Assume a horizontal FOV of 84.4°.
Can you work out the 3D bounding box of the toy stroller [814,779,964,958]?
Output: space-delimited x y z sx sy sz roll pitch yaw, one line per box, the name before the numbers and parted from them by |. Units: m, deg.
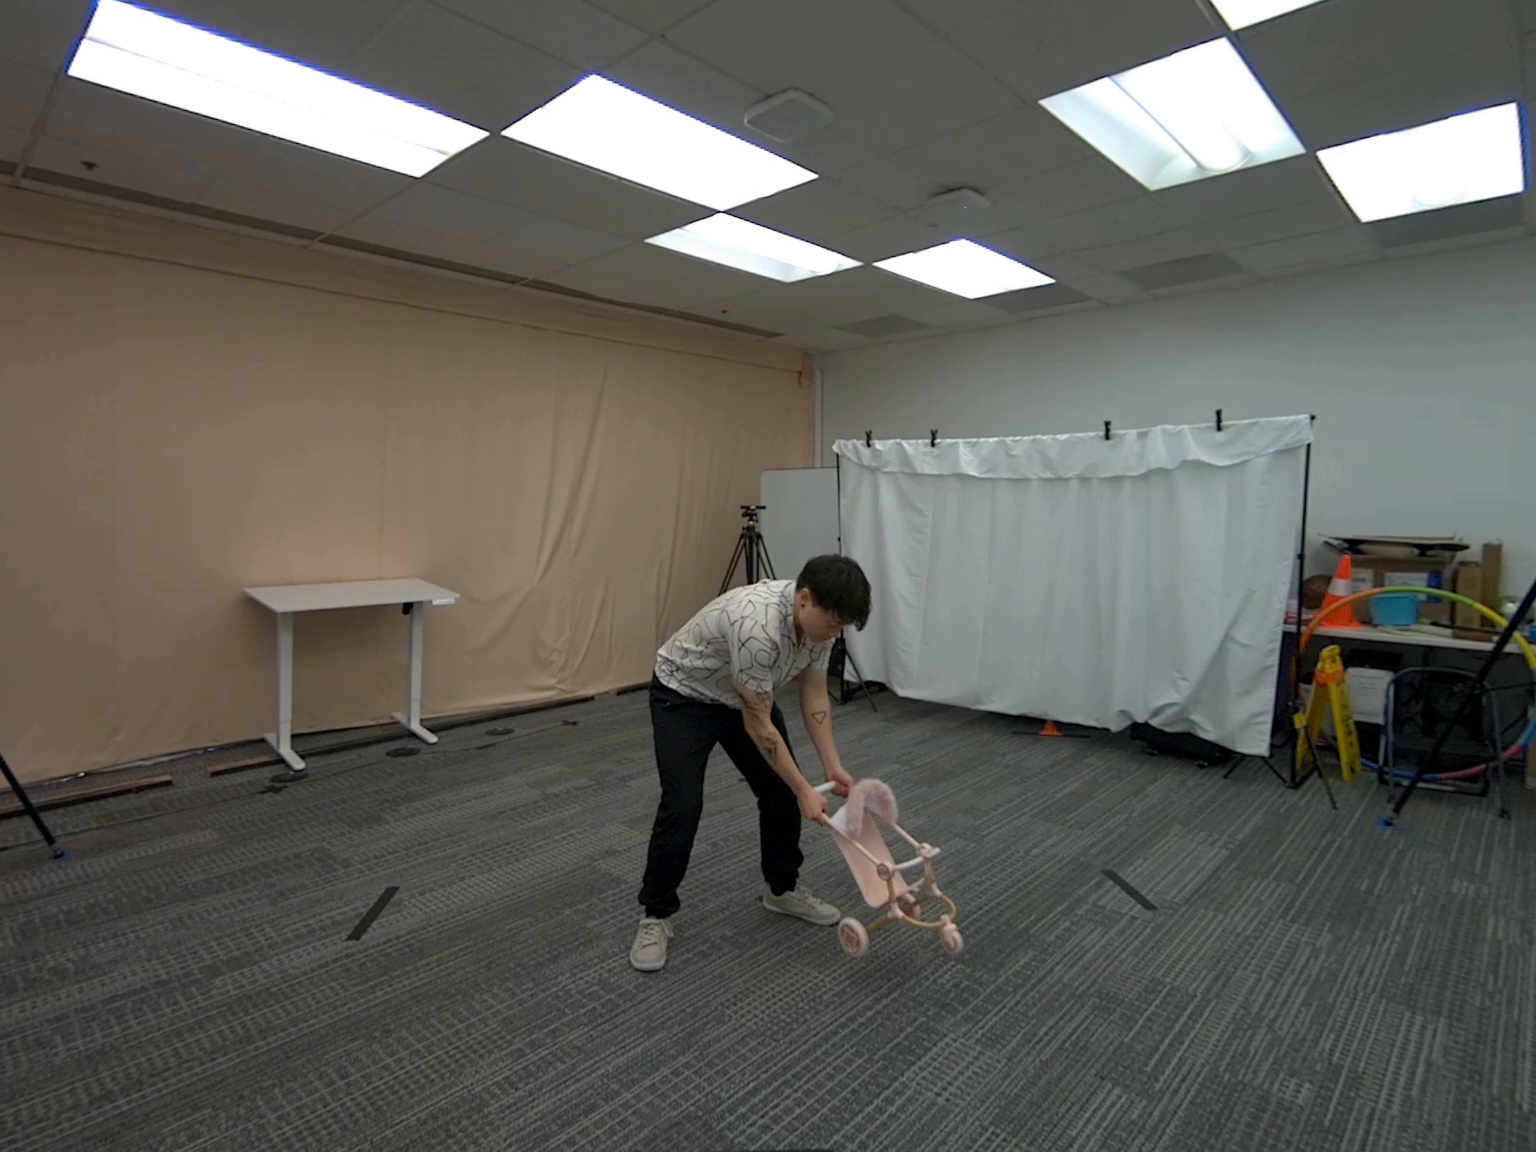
toy stroller | 0.346 0.845 2.465 0.273 0.544 0.346 -4 -22 -39
